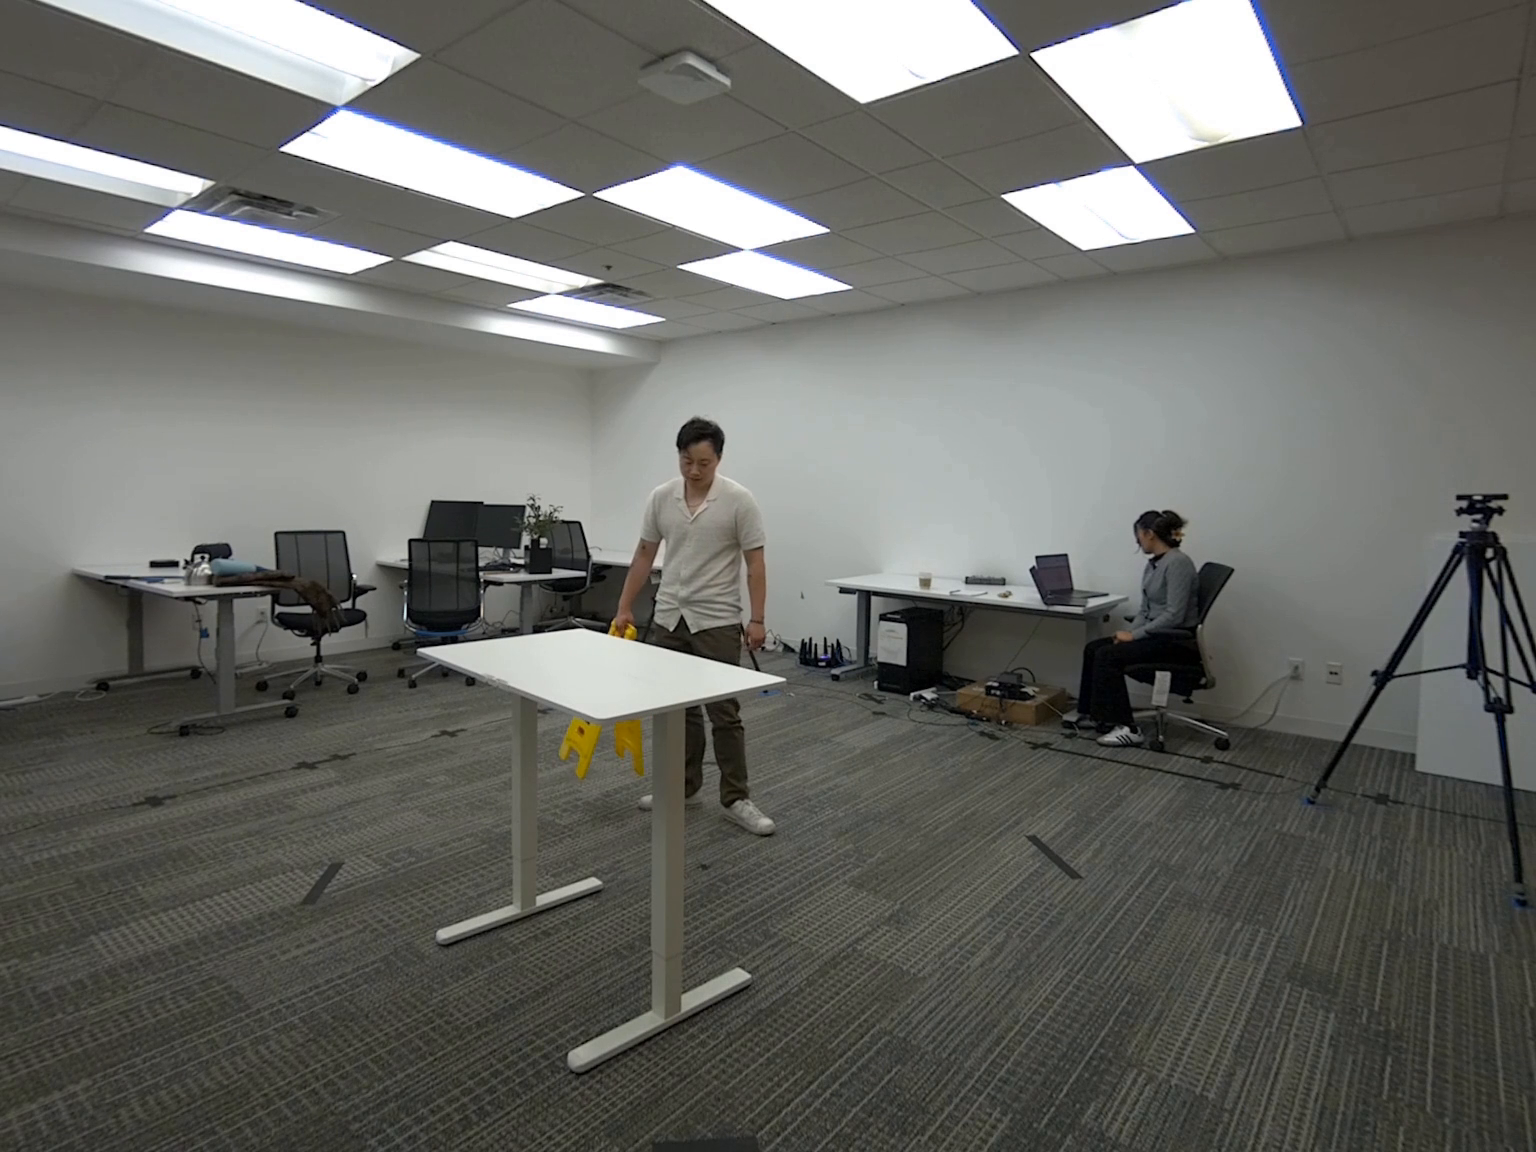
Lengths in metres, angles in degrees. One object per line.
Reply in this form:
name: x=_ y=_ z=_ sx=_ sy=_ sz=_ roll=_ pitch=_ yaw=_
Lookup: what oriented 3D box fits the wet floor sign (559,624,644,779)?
wet floor sign: x=-0.688 y=0.514 z=3.702 sx=0.280 sy=0.643 sz=0.292 roll=6 pitch=6 yaw=-35
